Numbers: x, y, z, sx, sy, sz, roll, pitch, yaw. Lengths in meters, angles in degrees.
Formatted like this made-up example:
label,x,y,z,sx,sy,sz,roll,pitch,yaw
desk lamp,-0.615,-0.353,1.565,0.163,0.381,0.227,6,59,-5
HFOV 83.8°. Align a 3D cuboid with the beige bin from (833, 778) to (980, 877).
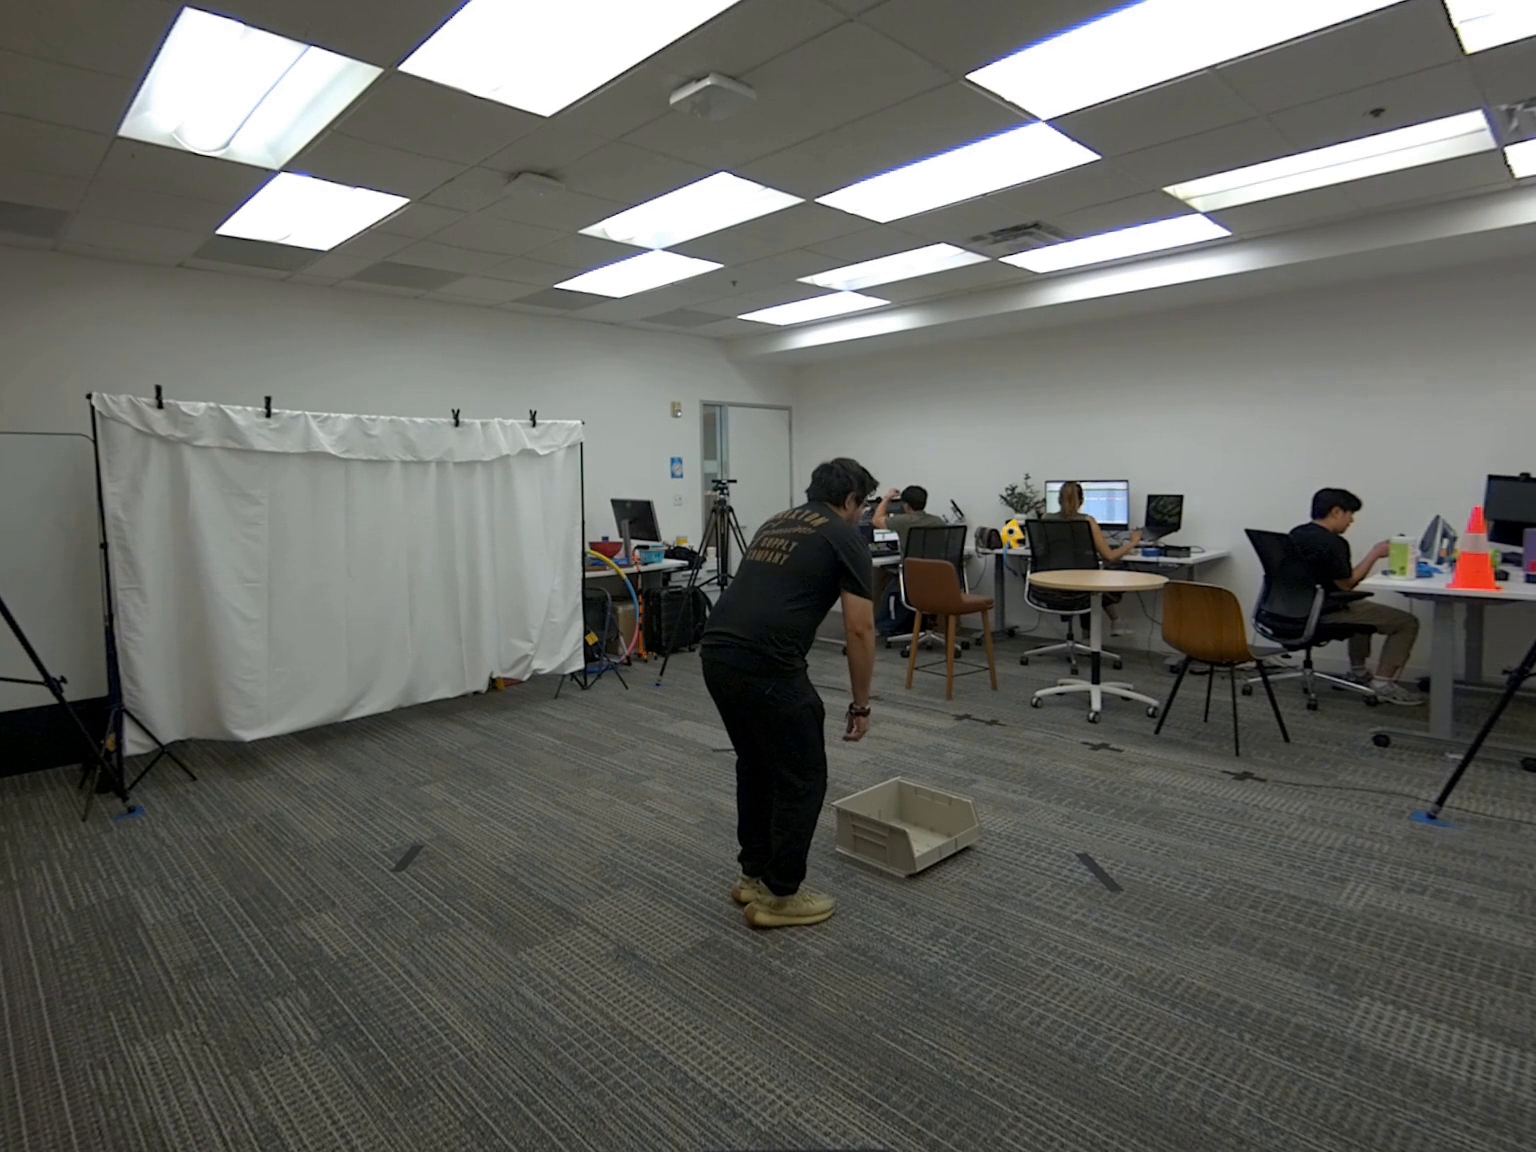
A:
label,x,y,z,sx,sy,sz,roll,pitch,yaw
beige bin,0.525,0.940,3.206,0.411,0.188,0.389,-7,8,-43
